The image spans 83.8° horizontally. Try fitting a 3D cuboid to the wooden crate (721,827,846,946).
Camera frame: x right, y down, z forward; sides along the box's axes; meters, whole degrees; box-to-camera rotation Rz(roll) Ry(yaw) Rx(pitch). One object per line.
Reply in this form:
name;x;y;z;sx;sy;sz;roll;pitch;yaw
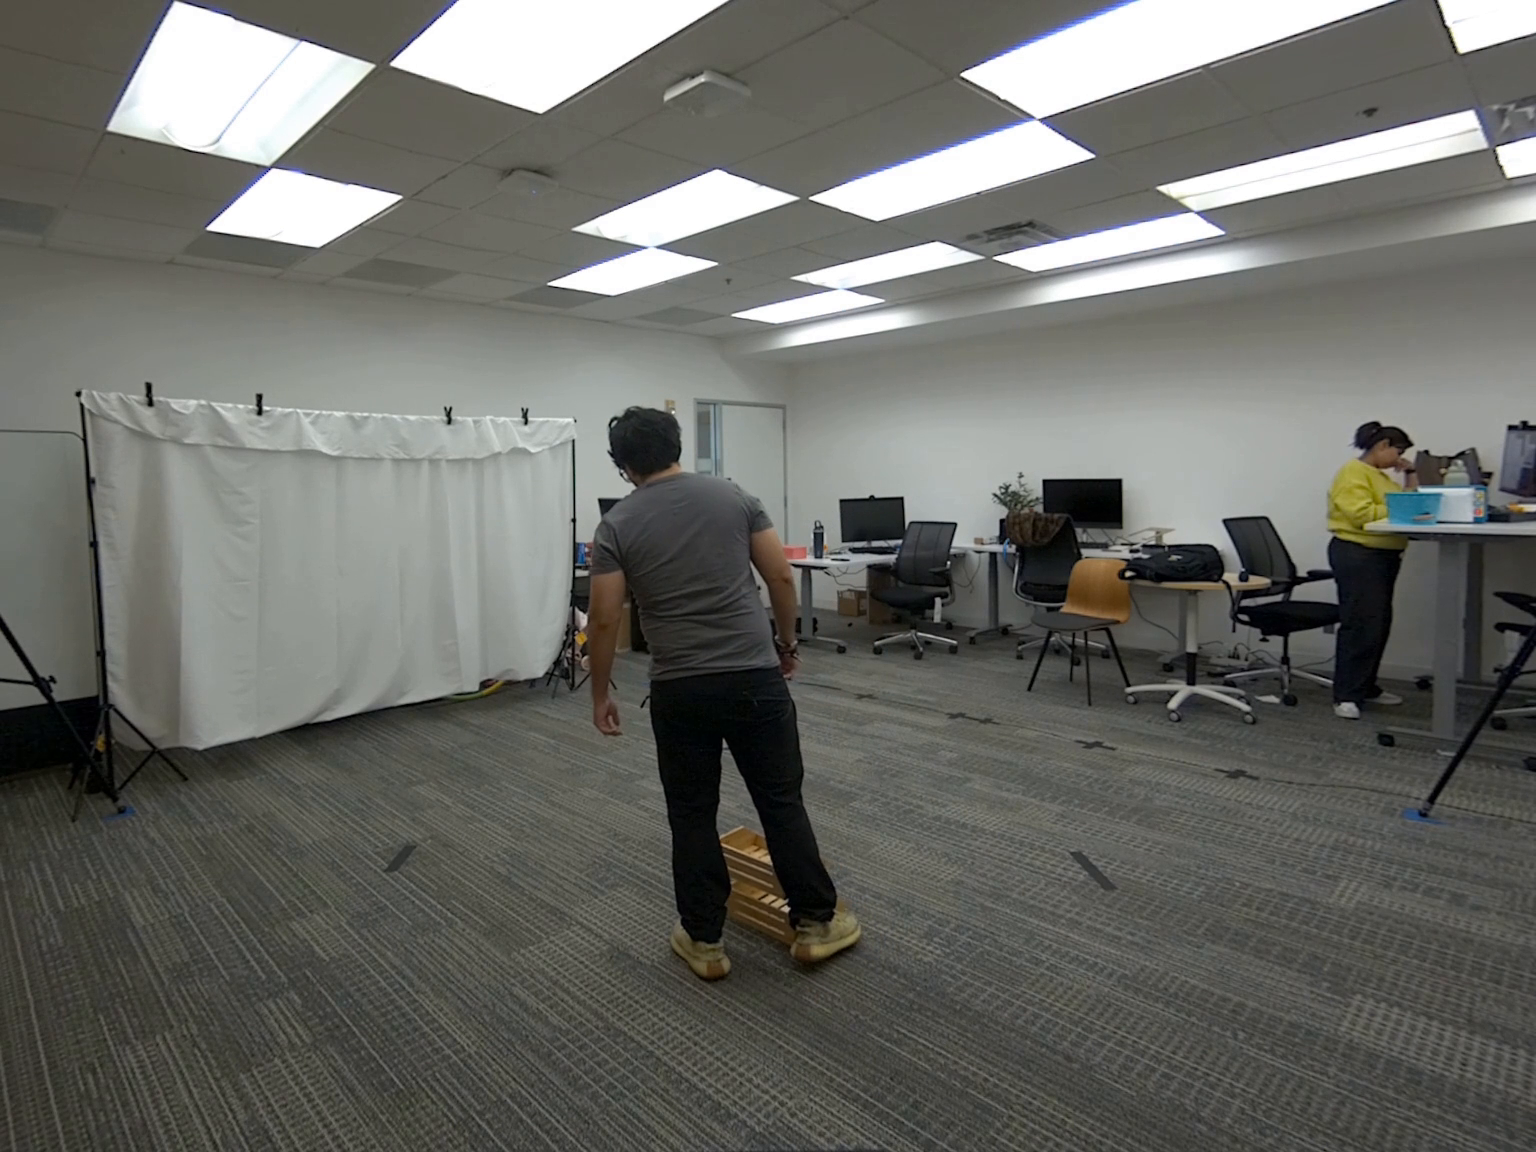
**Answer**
wooden crate;0.039;0.955;2.706;0.334;0.272;0.294;5;9;41
